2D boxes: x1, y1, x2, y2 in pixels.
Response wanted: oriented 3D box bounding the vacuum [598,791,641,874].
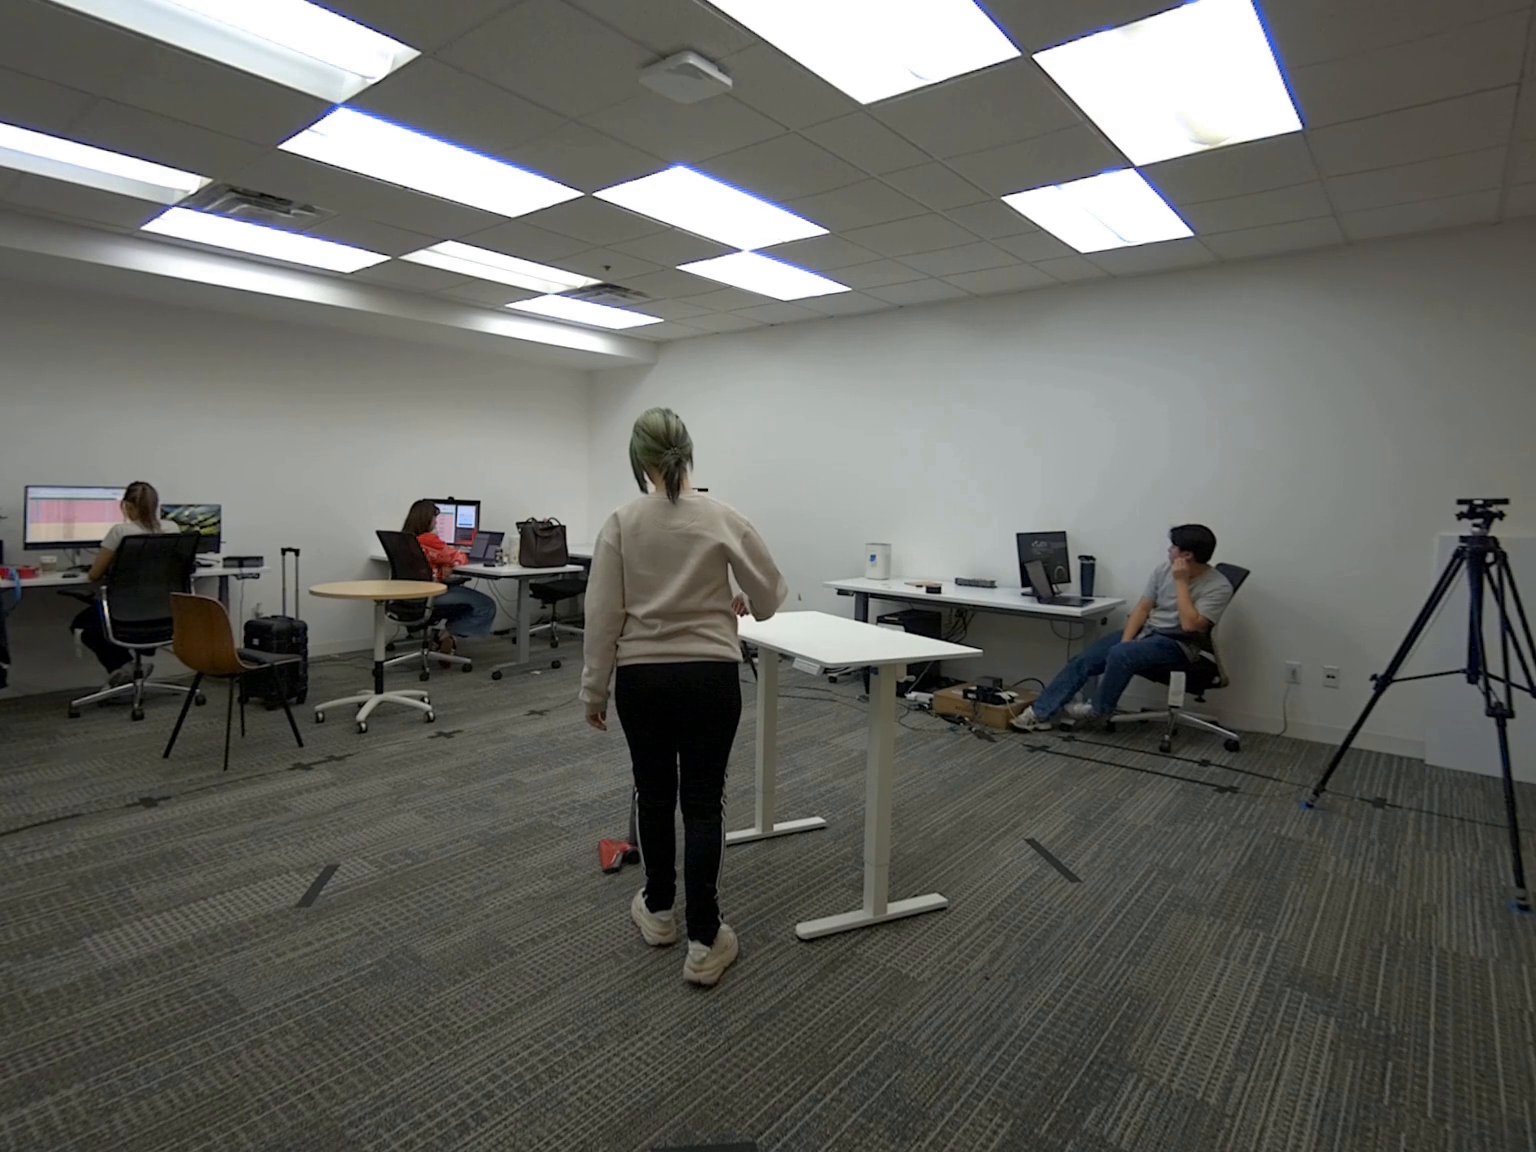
[{"bbox_3d":[-0.380,0.566,3.210,0.140,1.050,0.259,23,-3,-21],"label":"vacuum"}]
